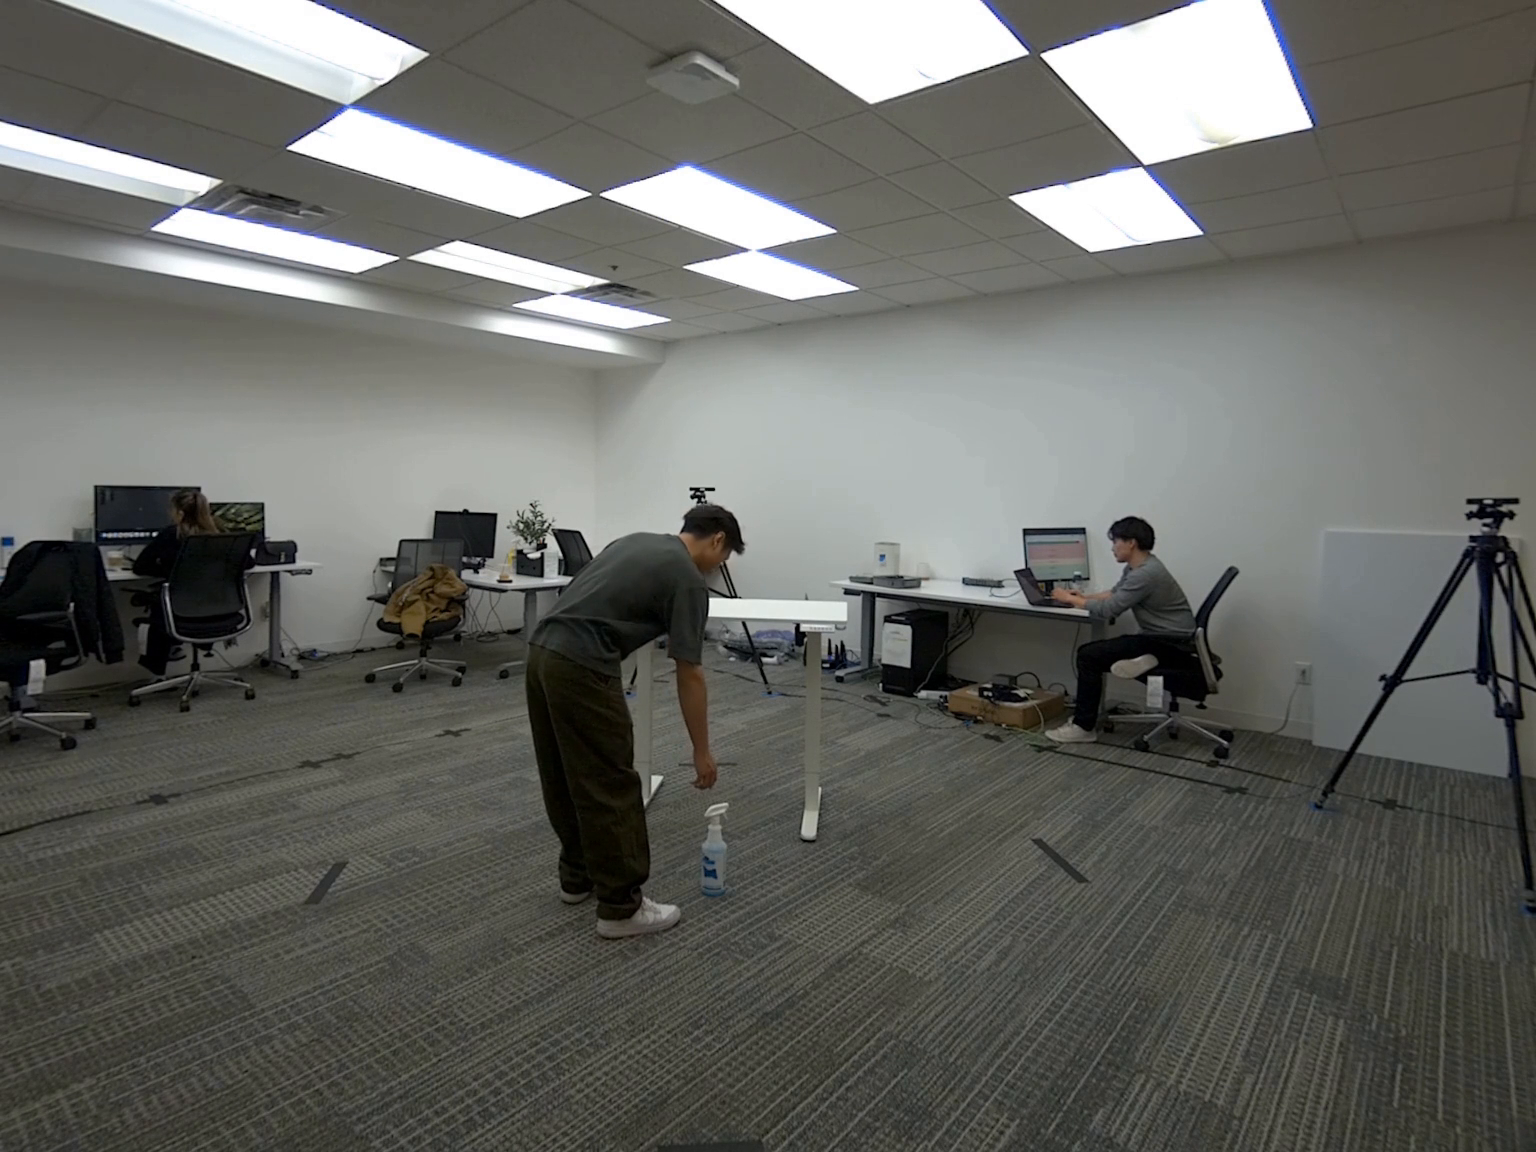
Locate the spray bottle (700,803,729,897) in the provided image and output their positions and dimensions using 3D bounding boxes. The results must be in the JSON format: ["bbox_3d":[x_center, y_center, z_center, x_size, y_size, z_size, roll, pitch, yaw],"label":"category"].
[{"bbox_3d":[-0.193,0.943,2.928,0.089,0.297,0.088,3,2,-6],"label":"spray bottle"}]
